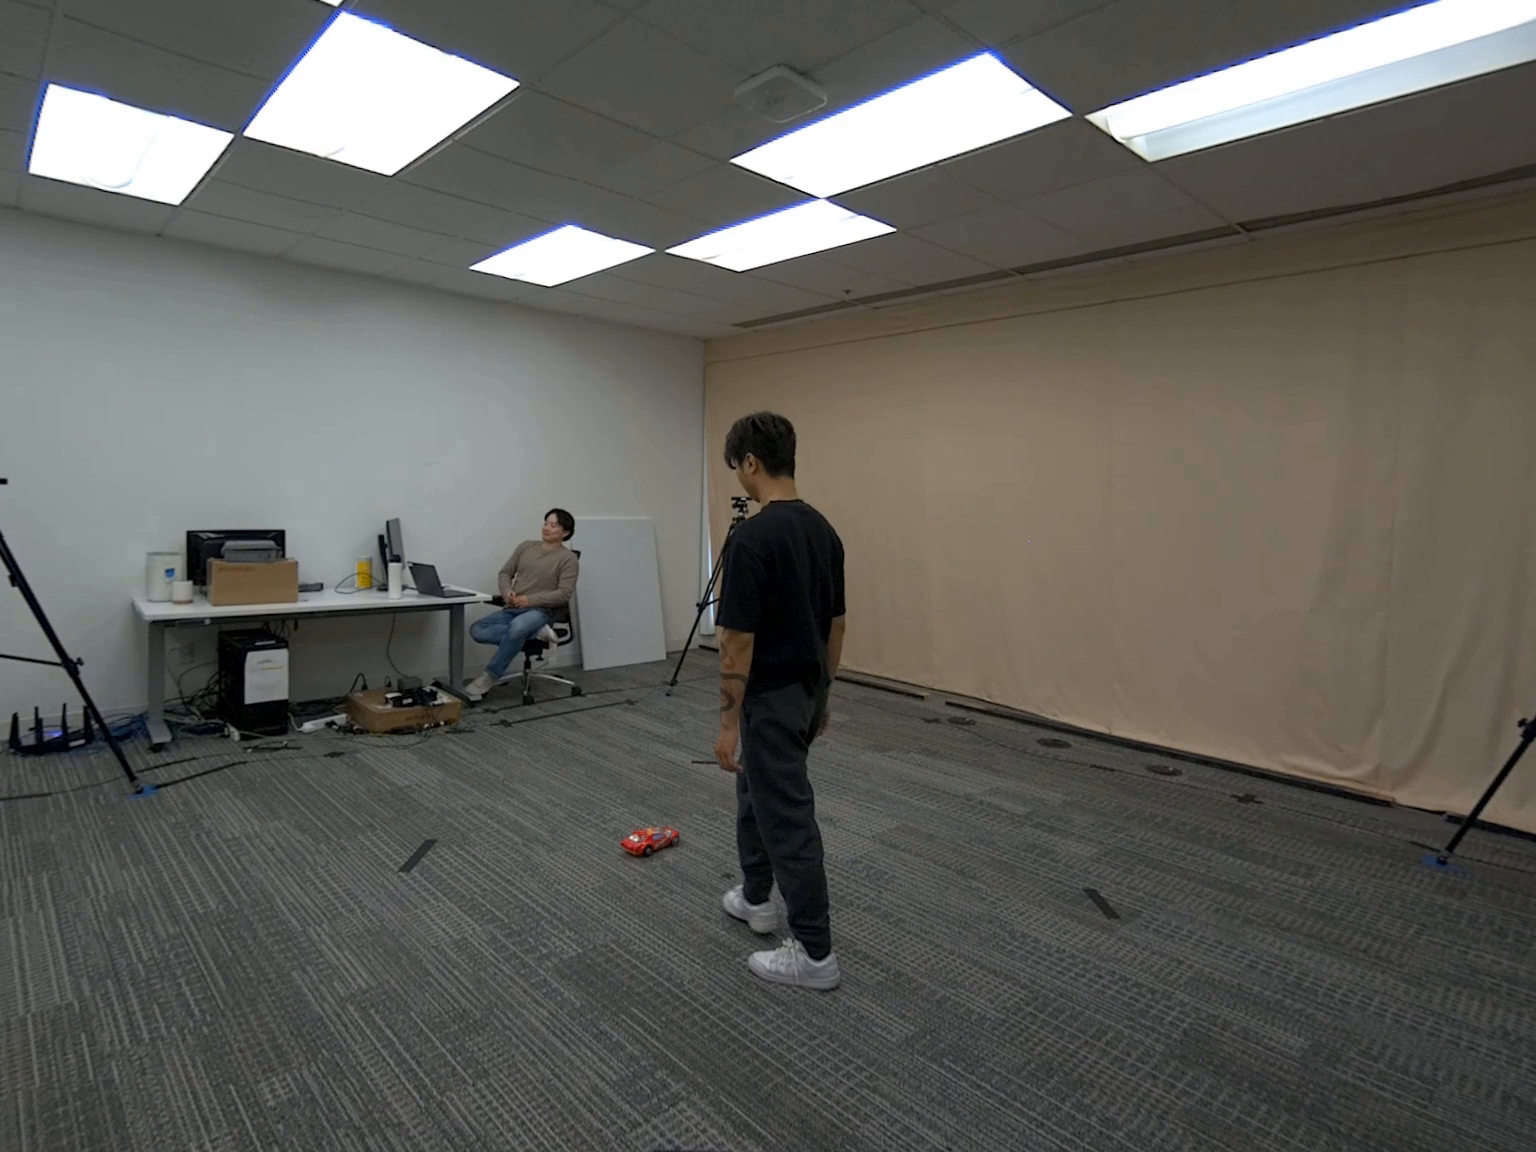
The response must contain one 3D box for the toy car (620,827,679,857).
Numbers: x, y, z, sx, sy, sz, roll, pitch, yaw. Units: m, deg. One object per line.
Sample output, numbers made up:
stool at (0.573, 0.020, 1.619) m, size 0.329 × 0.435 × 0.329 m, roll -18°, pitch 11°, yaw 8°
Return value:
toy car at (-0.478, 1.048, 3.322) m, size 0.134 × 0.083 × 0.247 m, roll 6°, pitch -4°, yaw 42°
